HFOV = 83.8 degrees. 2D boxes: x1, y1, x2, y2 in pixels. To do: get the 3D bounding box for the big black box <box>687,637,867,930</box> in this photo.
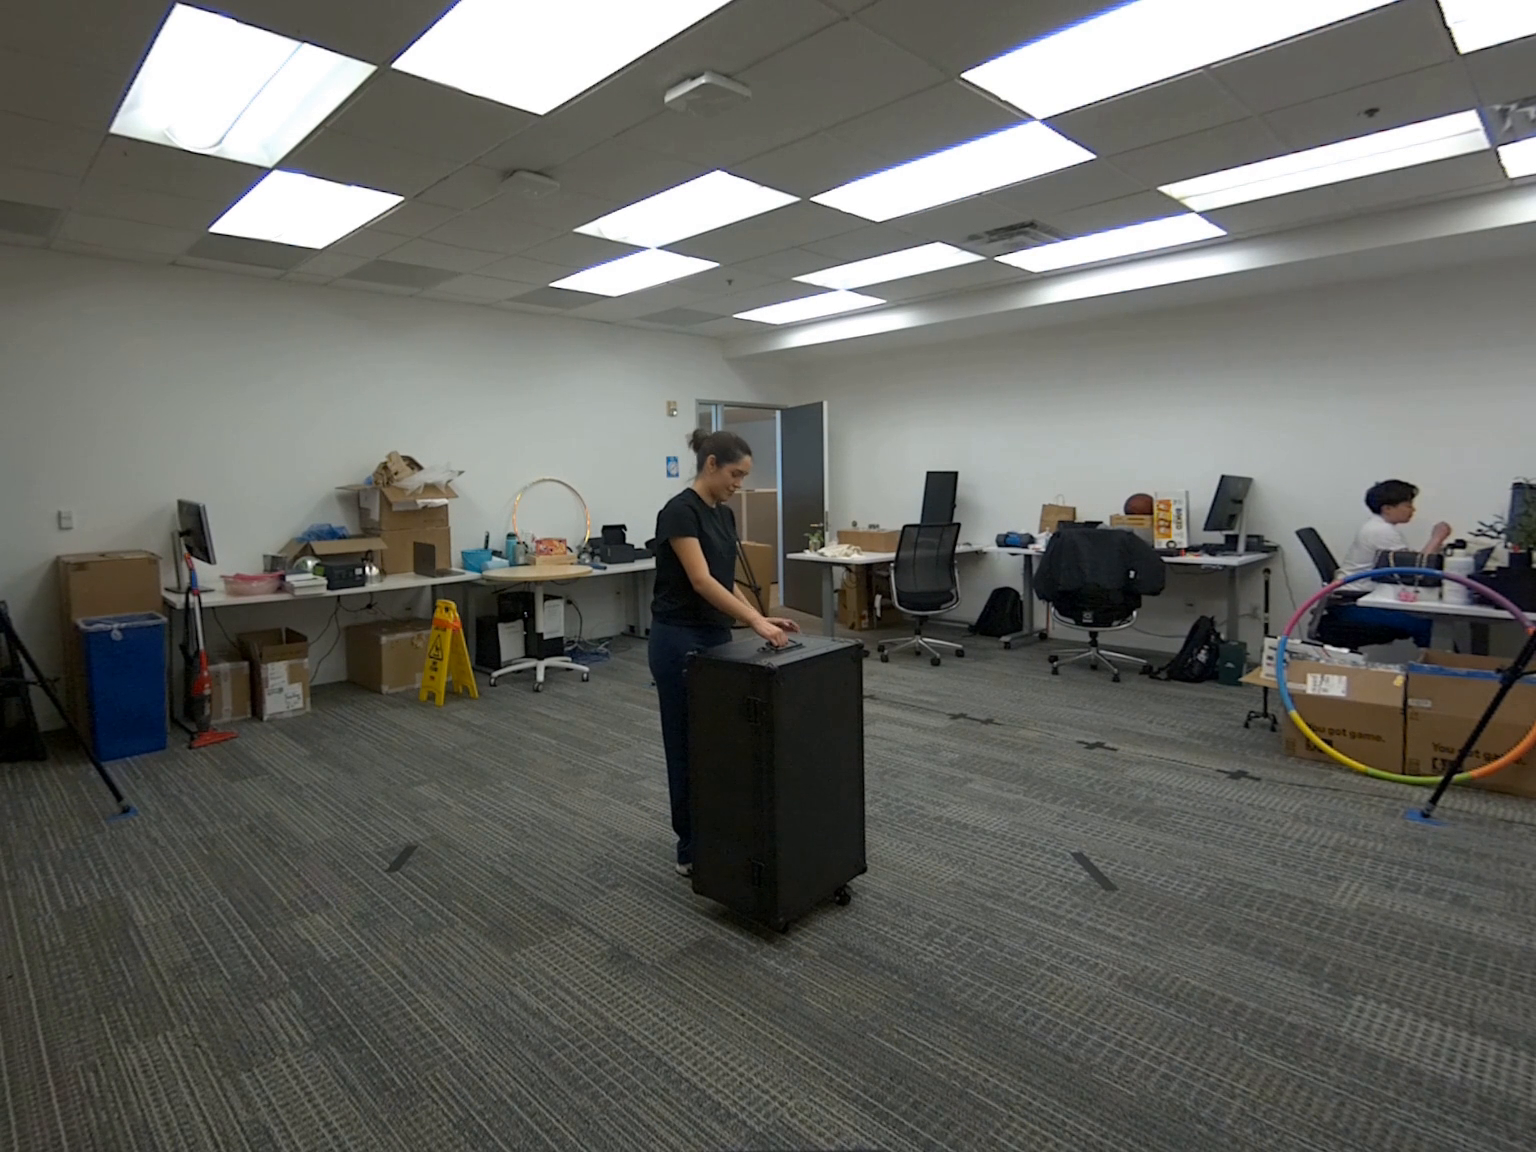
[{"bbox_3d":[0.044,0.653,2.797,0.408,0.859,0.508,2,5,40],"label":"big black box"}]
